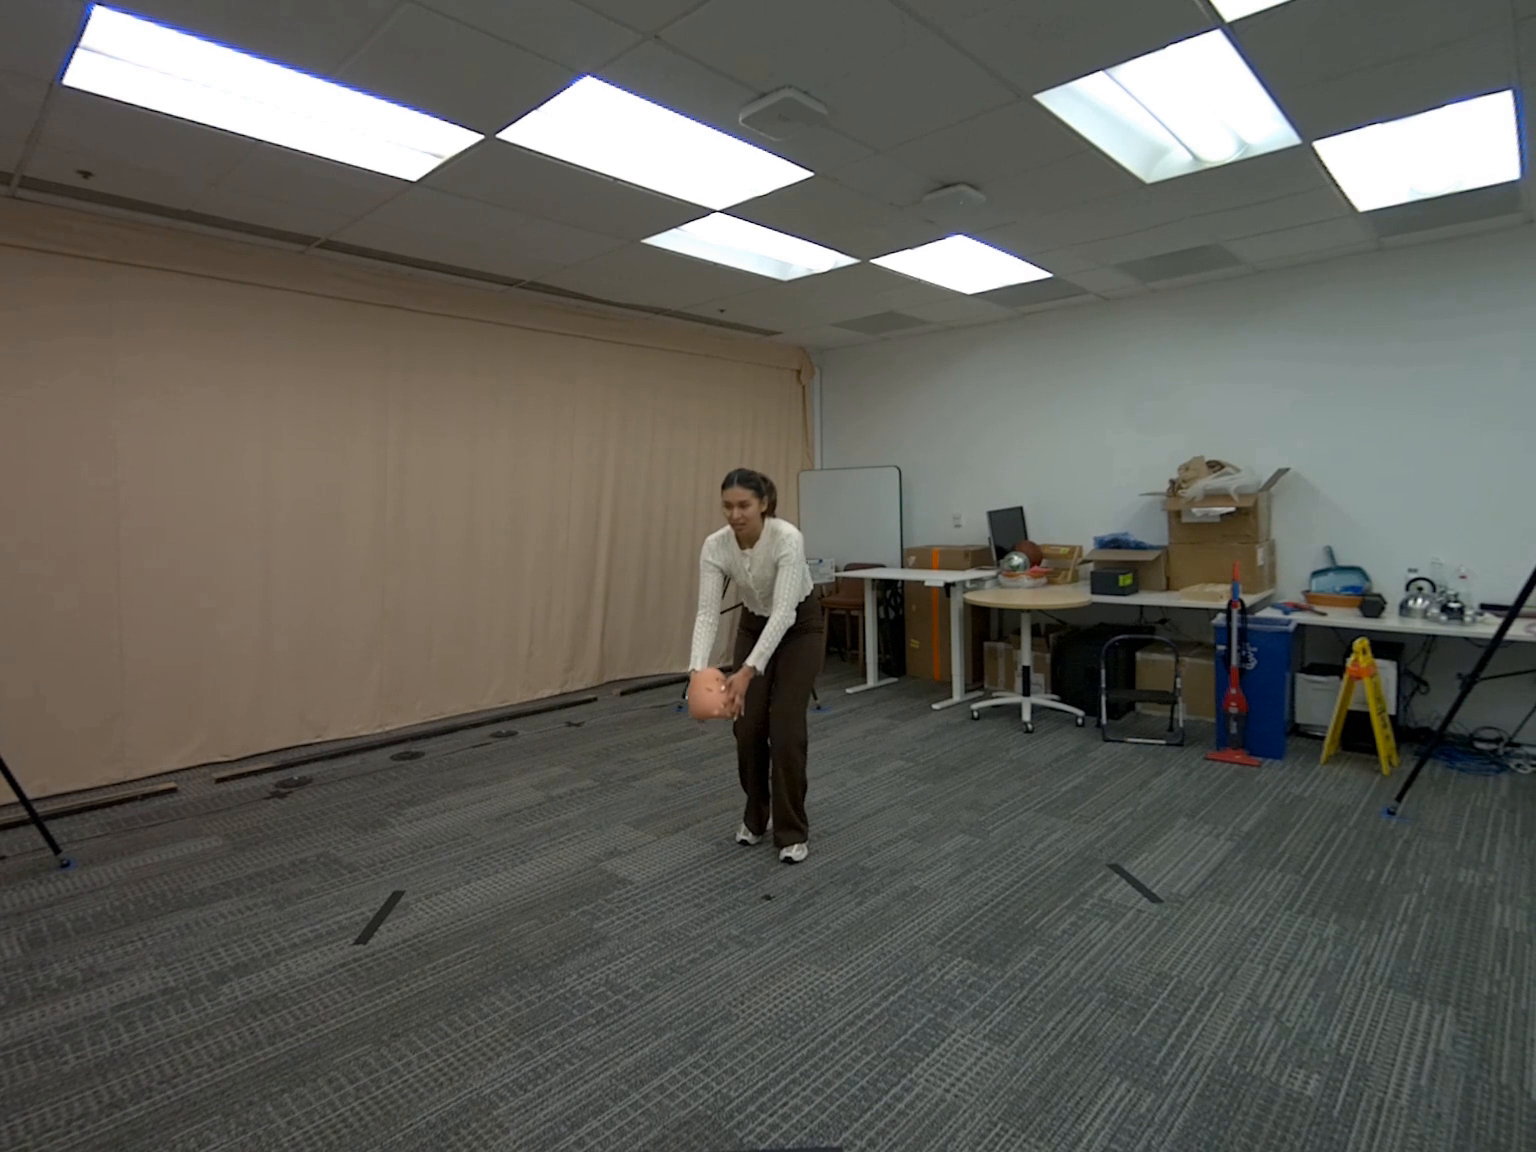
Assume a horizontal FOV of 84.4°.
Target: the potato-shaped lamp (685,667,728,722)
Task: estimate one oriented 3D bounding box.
[{"bbox_3d":[-0.204,0.433,3.047,0.159,0.201,0.175,11,-25,-37],"label":"potato-shaped lamp"}]
